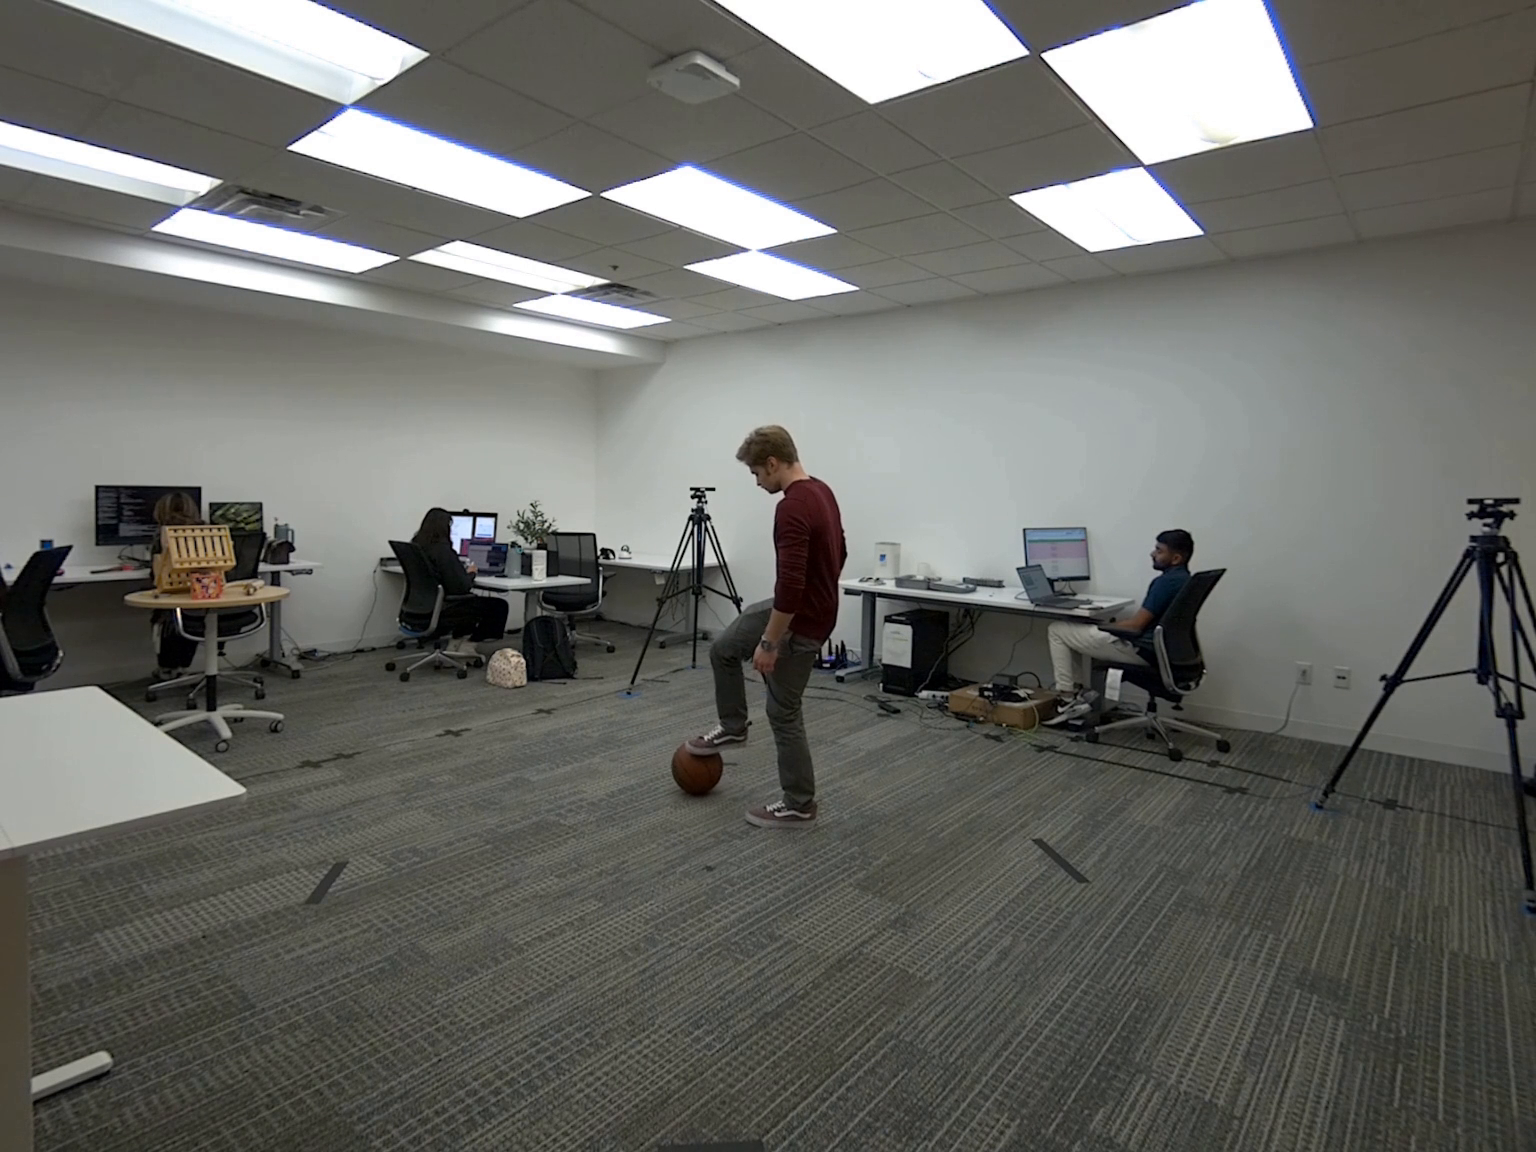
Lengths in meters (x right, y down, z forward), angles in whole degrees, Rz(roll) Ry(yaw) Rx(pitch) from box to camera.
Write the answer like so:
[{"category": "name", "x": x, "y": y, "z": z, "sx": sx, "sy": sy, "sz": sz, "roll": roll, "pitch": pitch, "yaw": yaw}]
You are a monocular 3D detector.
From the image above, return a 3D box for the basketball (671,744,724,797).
[{"category": "basketball", "x": -0.336, "y": 0.867, "z": 3.896, "sx": 0.235, "sy": 0.235, "sz": 0.237, "roll": 1, "pitch": 4, "yaw": -2}]
